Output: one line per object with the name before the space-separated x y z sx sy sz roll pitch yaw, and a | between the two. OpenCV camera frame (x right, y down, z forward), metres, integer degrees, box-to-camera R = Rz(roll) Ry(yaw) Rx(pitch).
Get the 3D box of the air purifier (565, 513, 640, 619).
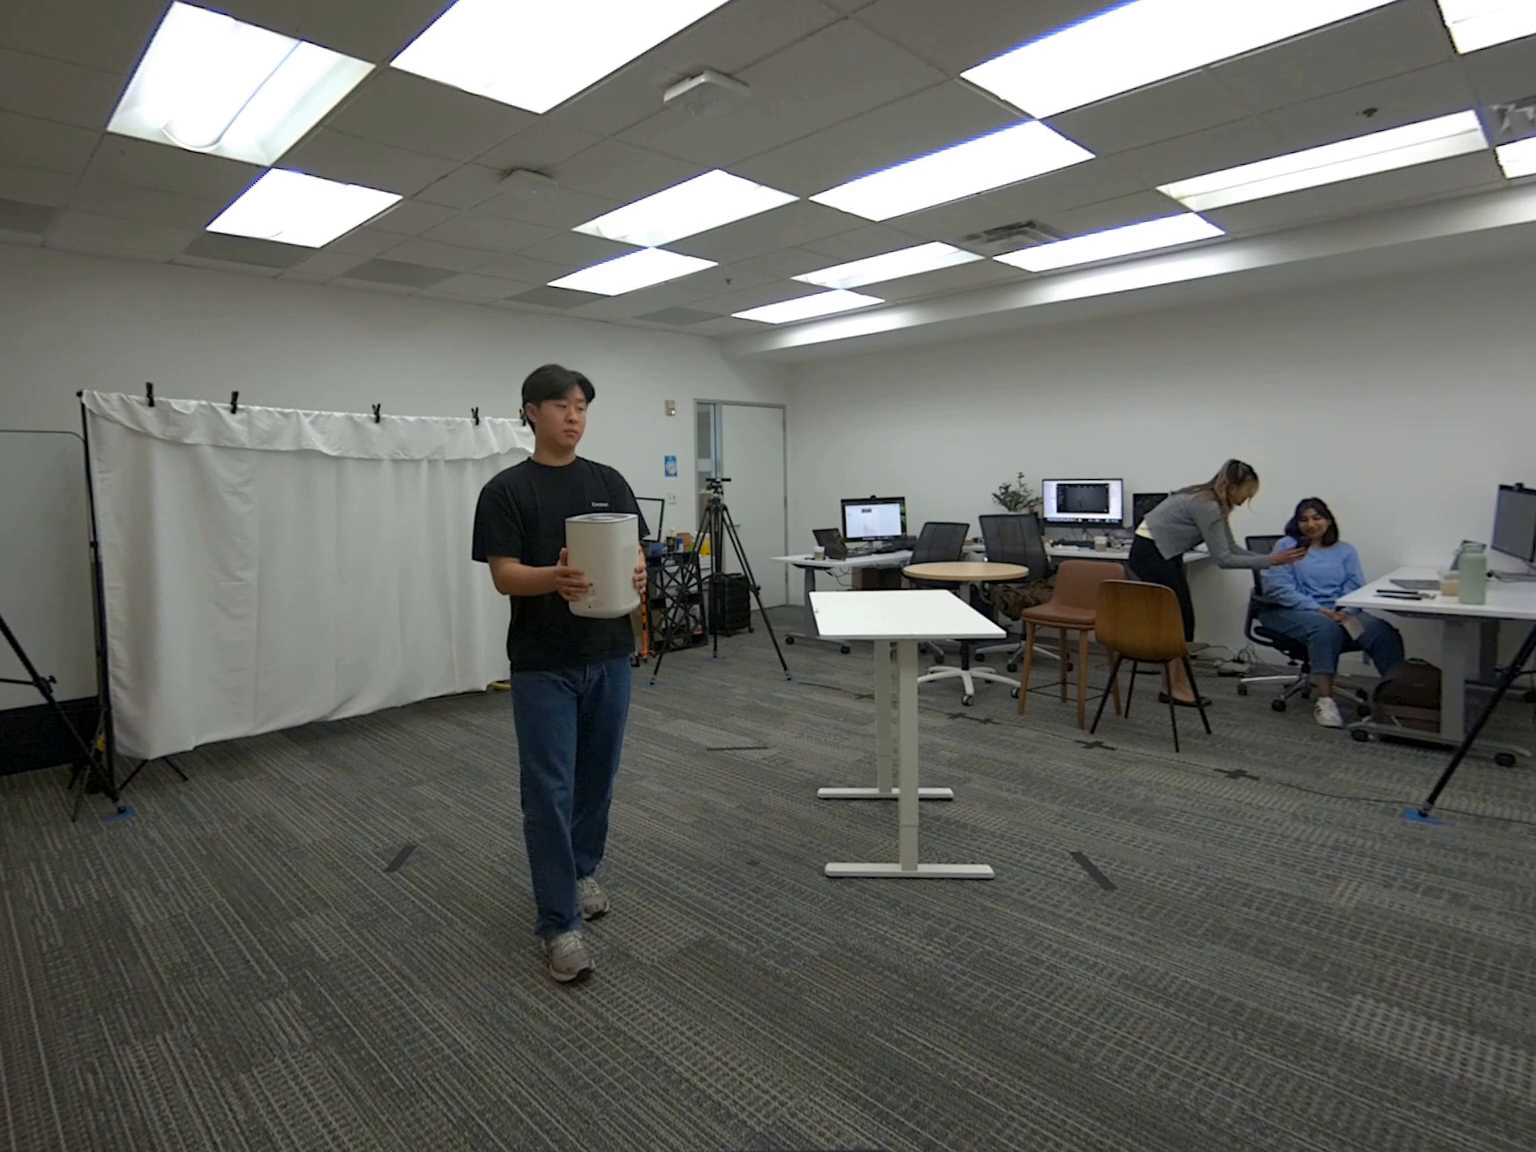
air purifier | -0.460 -0.031 2.337 0.173 0.263 0.170 0 8 13
